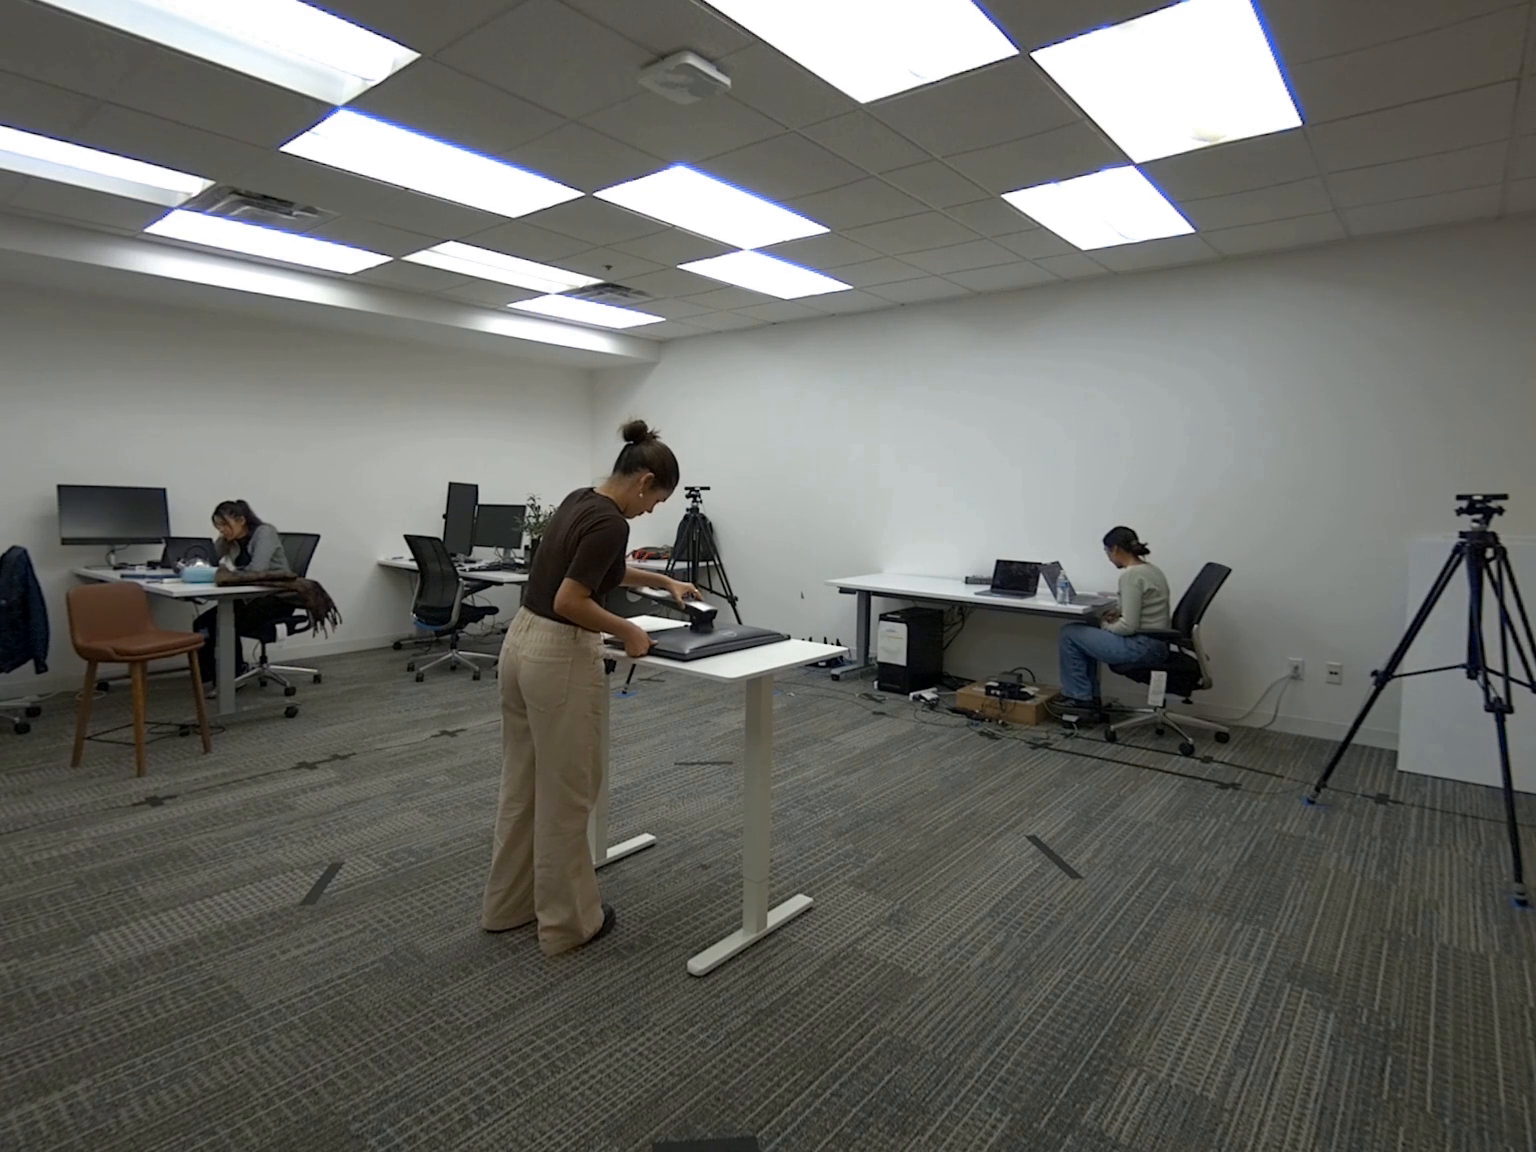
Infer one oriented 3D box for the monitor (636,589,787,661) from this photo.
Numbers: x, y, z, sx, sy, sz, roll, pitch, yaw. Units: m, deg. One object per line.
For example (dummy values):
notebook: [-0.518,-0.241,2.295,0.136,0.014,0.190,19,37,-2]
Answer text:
monitor: [-0.293,0.149,2.834,0.543,0.185,0.524,24,20,36]
